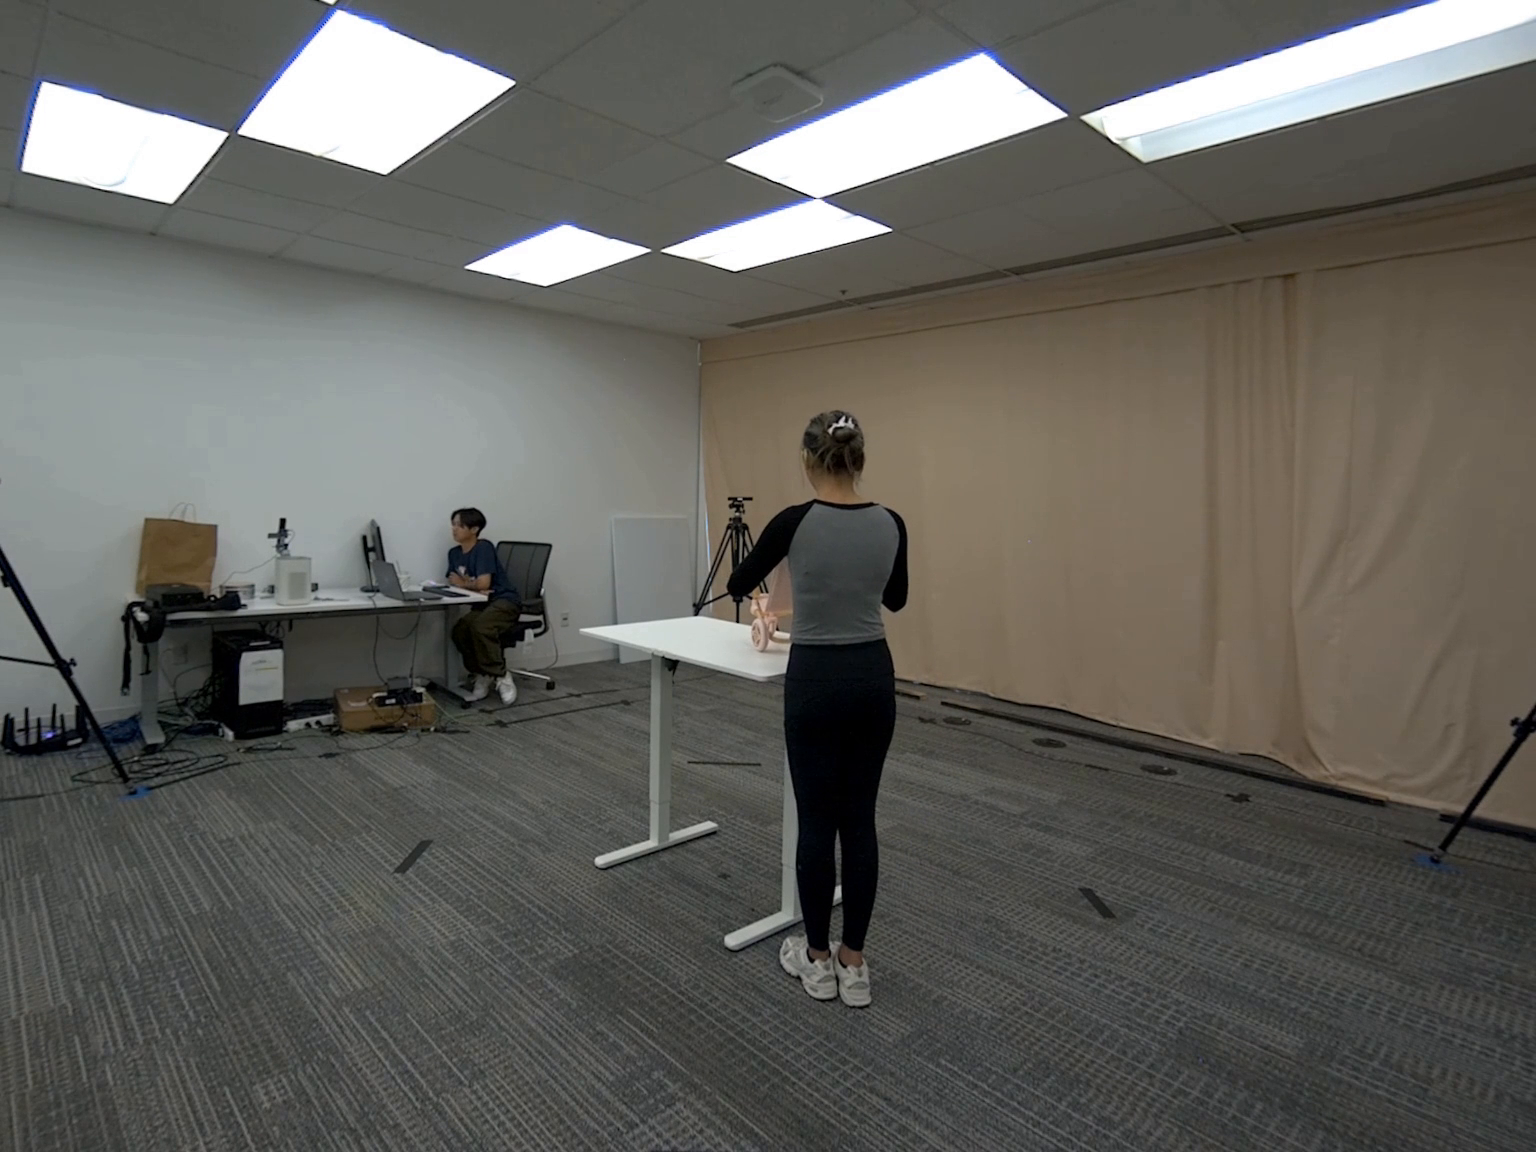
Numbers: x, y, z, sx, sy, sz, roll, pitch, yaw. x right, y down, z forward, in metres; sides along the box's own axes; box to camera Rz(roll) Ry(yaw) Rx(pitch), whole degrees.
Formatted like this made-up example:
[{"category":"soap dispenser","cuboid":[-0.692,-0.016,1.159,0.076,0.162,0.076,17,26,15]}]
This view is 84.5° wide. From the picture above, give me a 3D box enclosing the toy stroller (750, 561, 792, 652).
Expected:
[{"category":"toy stroller","cuboid":[0.075,0.029,2.901,0.278,0.528,0.350,0,21,-15]}]
